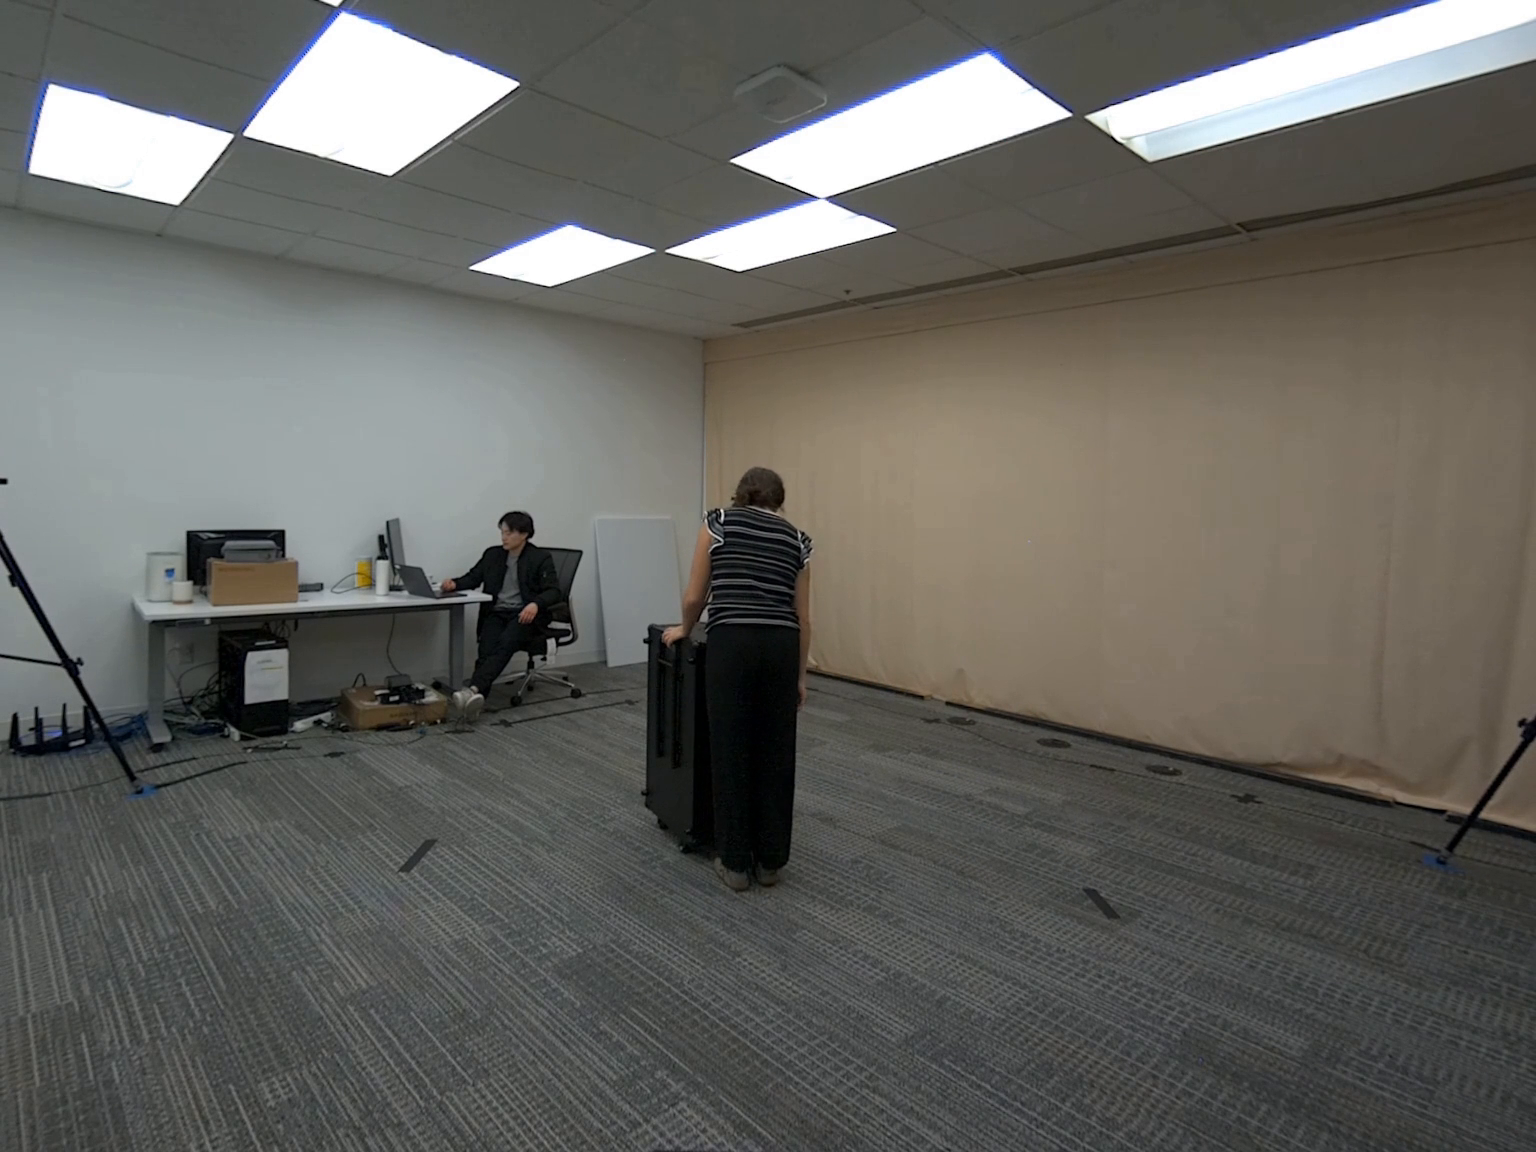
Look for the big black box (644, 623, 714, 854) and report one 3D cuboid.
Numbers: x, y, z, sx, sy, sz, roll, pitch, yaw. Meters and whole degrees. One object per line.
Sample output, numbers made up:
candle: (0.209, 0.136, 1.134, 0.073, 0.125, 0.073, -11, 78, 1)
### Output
big black box: (-0.258, 0.652, 3.443, 0.389, 0.859, 0.533, -1, 4, -28)
